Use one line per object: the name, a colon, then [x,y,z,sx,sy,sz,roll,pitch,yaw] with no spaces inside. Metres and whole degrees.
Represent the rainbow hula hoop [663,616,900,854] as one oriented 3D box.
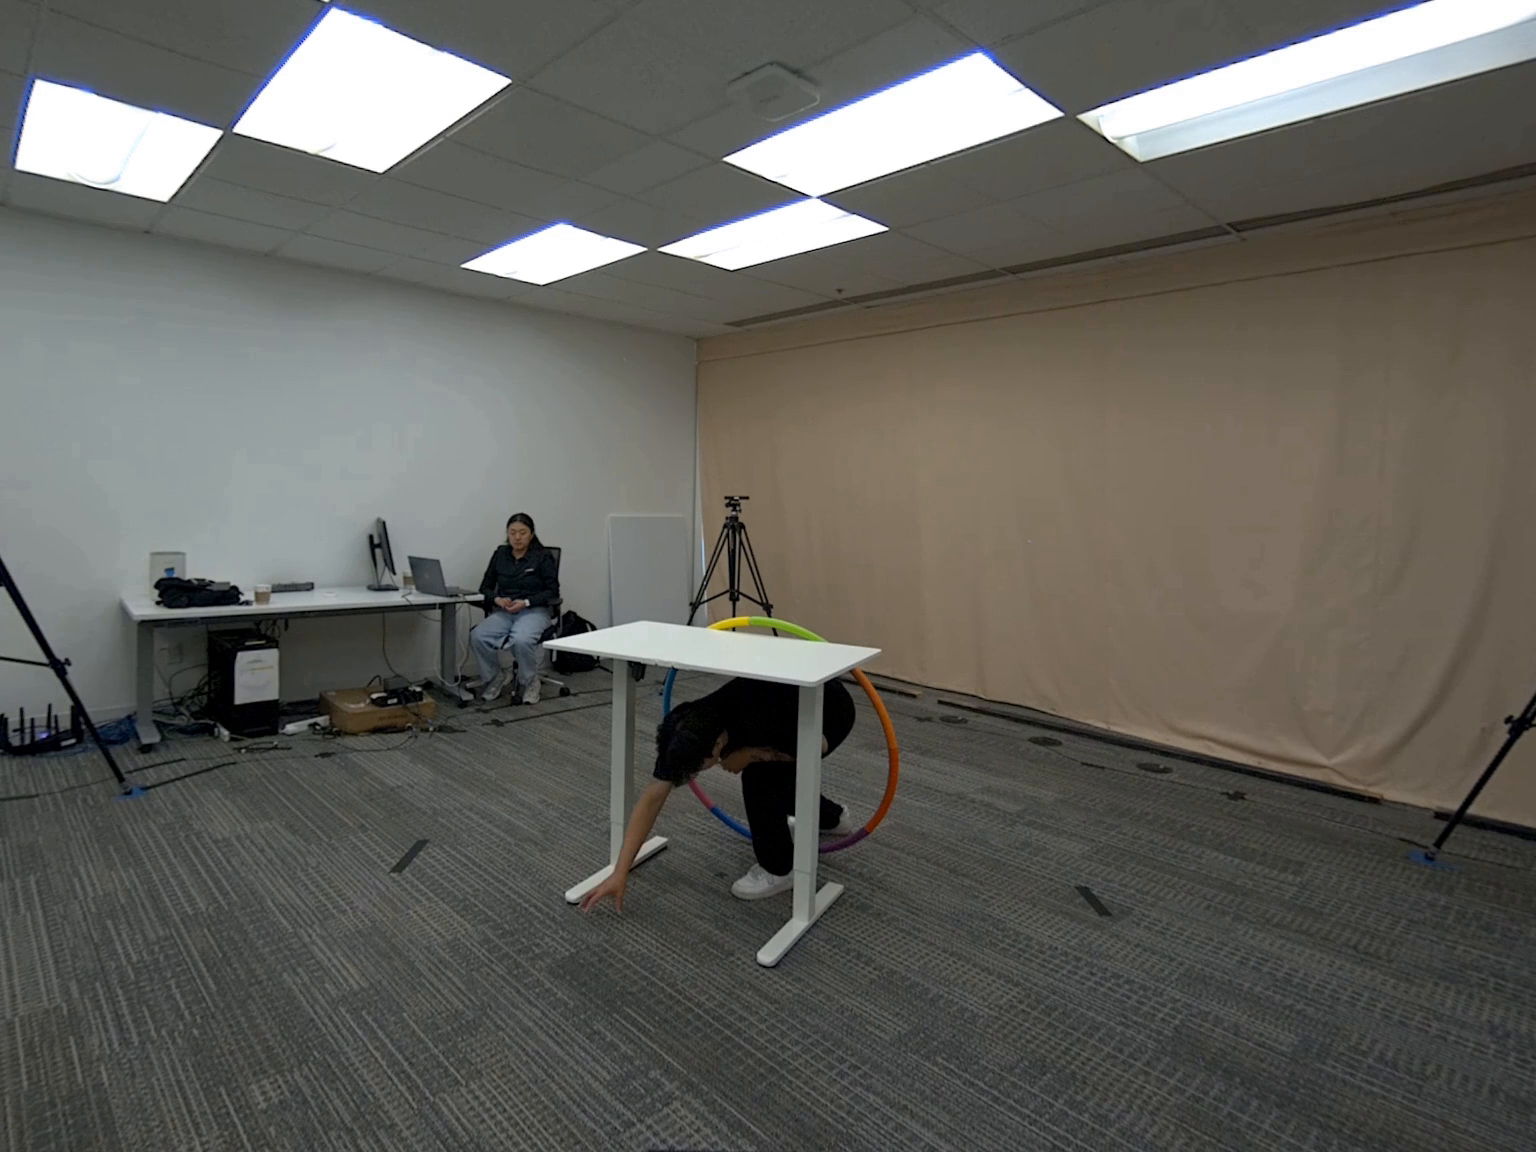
rainbow hula hoop: [0.008,0.624,3.233,0.999,0.968,0.035,4,16,29]
